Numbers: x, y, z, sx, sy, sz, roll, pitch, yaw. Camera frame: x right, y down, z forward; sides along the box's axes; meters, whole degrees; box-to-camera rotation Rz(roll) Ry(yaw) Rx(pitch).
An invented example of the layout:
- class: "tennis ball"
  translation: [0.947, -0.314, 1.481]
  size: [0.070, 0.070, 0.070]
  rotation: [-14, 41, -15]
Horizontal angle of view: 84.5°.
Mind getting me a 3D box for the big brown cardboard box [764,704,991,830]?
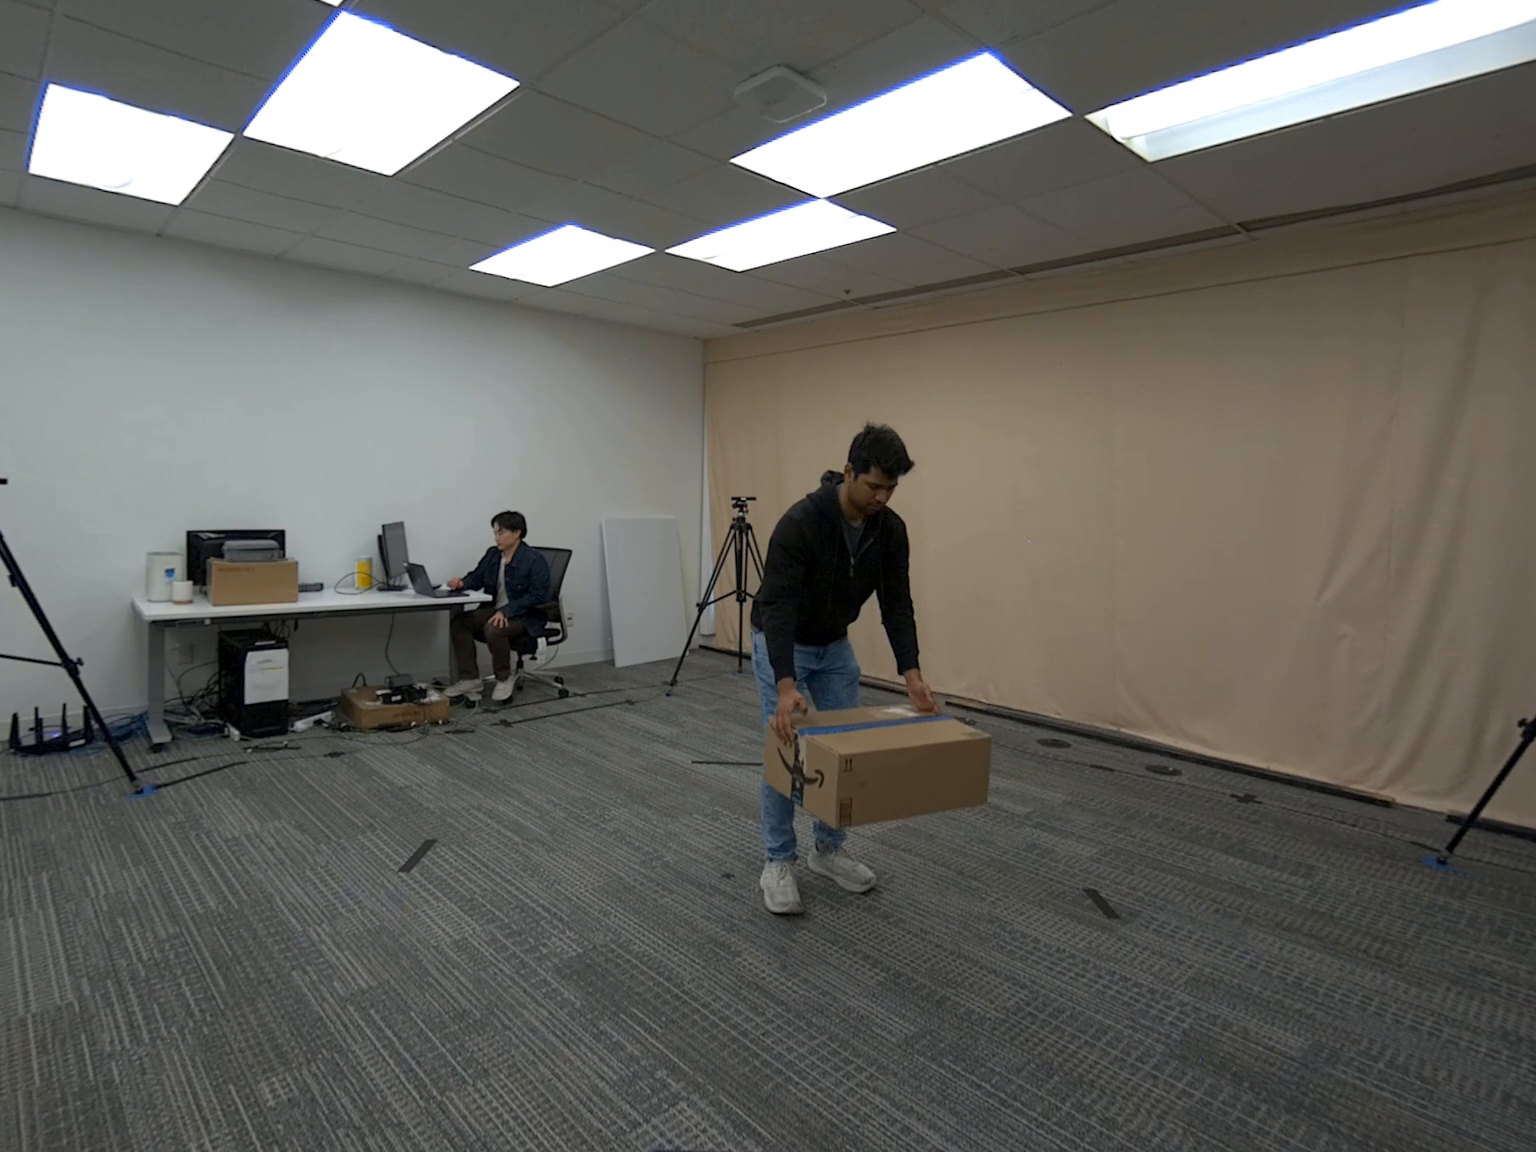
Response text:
- class: "big brown cardboard box"
  translation: [0.335, 0.578, 2.628]
  size: [0.577, 0.232, 0.427]
  rotation: [-1, 5, -28]
